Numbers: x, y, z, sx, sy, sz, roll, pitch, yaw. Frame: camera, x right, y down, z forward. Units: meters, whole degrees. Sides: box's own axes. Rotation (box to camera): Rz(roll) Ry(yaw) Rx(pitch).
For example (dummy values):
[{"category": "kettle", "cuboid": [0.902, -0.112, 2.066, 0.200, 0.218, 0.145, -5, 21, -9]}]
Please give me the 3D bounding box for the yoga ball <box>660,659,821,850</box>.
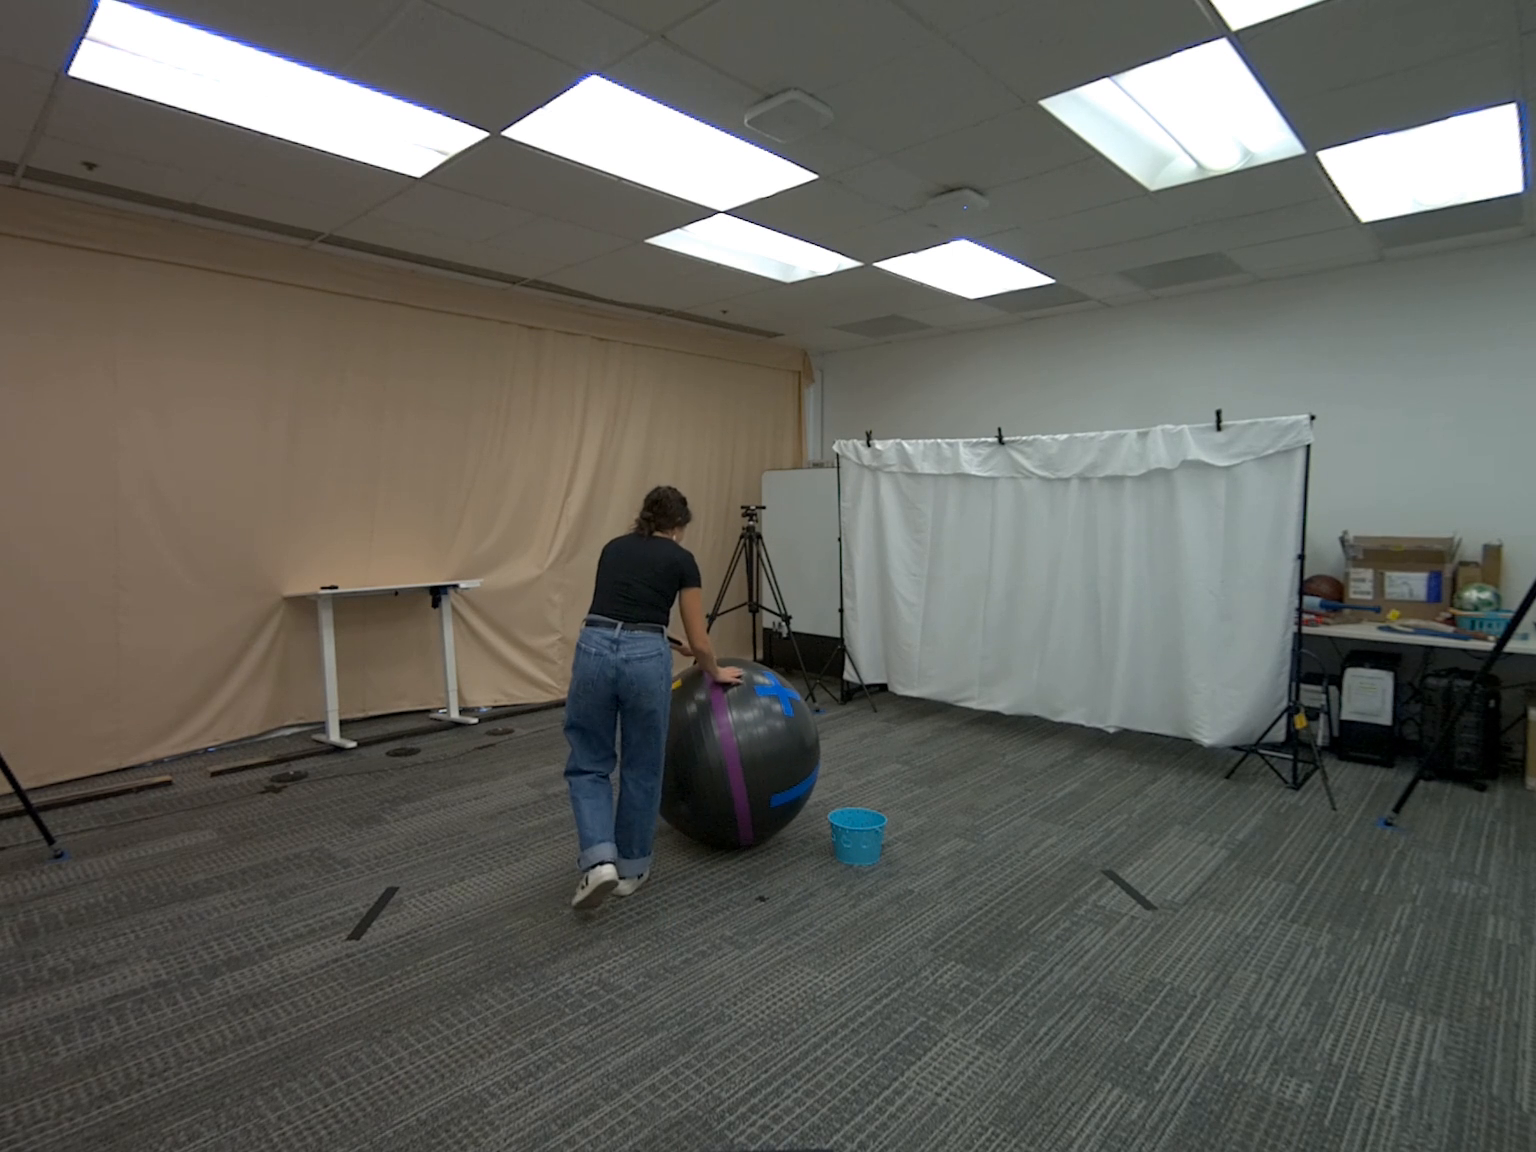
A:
[{"category": "yoga ball", "cuboid": [-0.161, 0.729, 3.509, 0.757, 0.756, 0.760, 0, 4, -2]}]
